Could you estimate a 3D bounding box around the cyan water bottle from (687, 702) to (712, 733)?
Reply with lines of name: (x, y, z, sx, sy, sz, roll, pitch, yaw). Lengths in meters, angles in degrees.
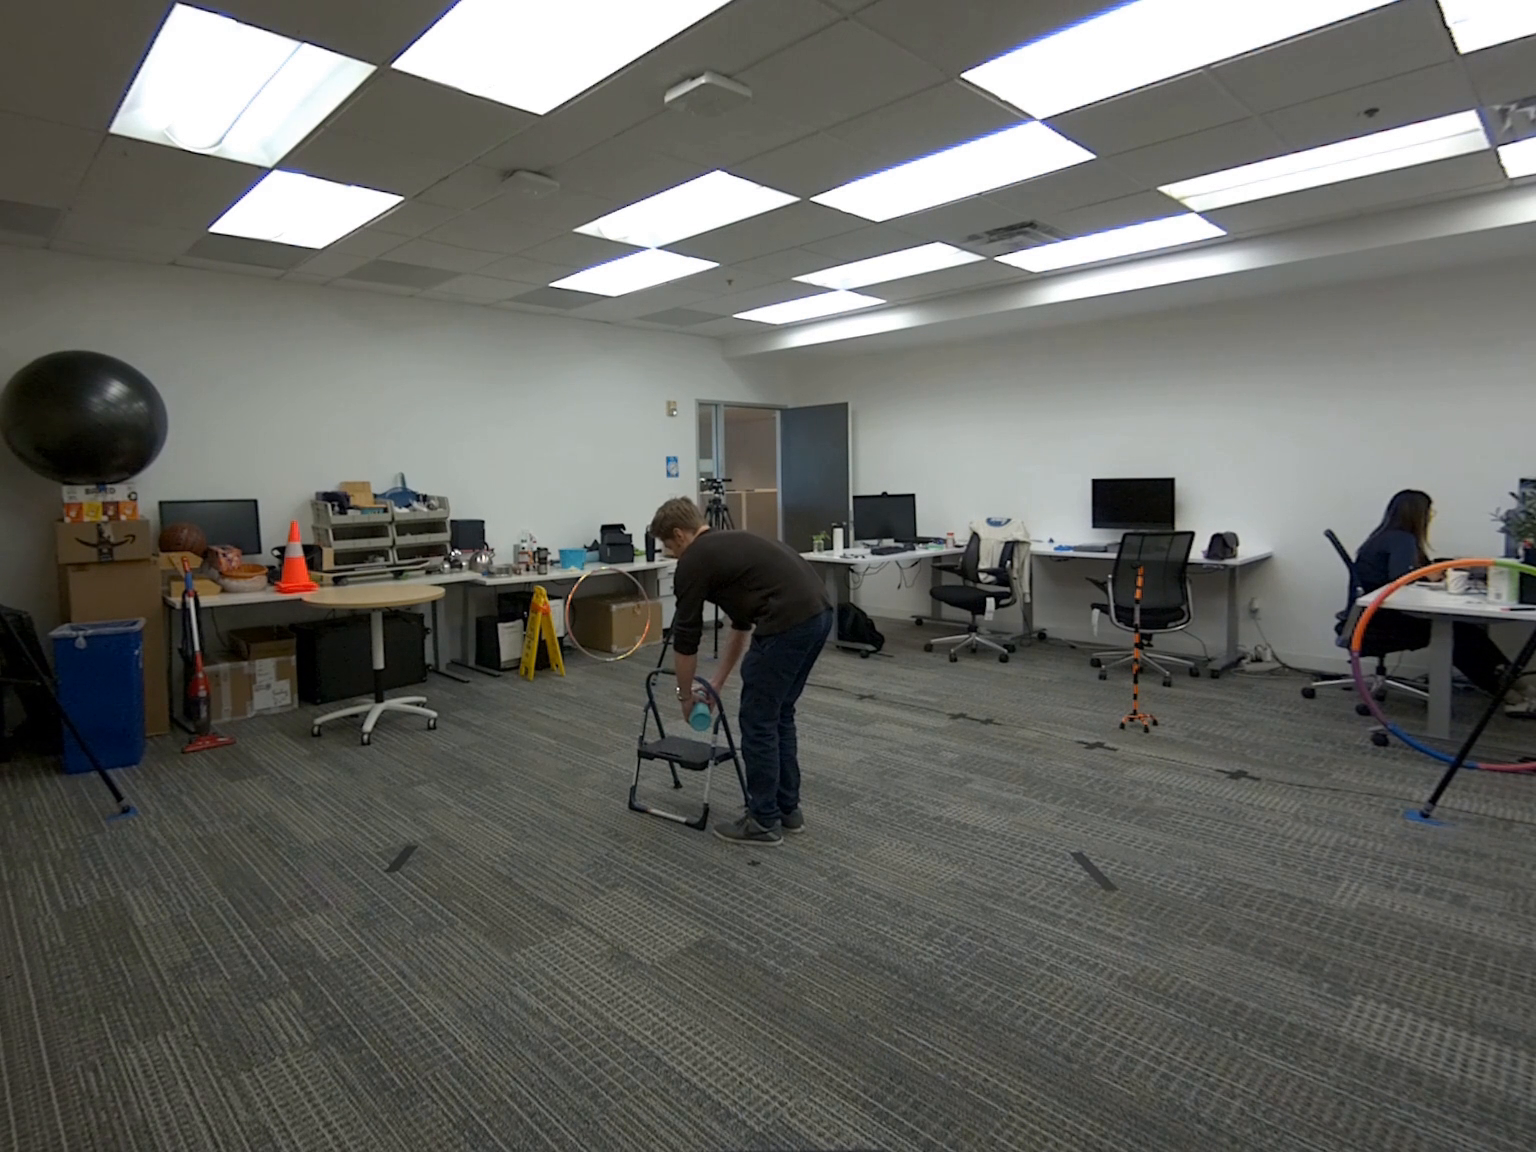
cyan water bottle: (-0.299, 0.552, 3.609, 0.091, 0.091, 0.290, -2, 19, -12)
